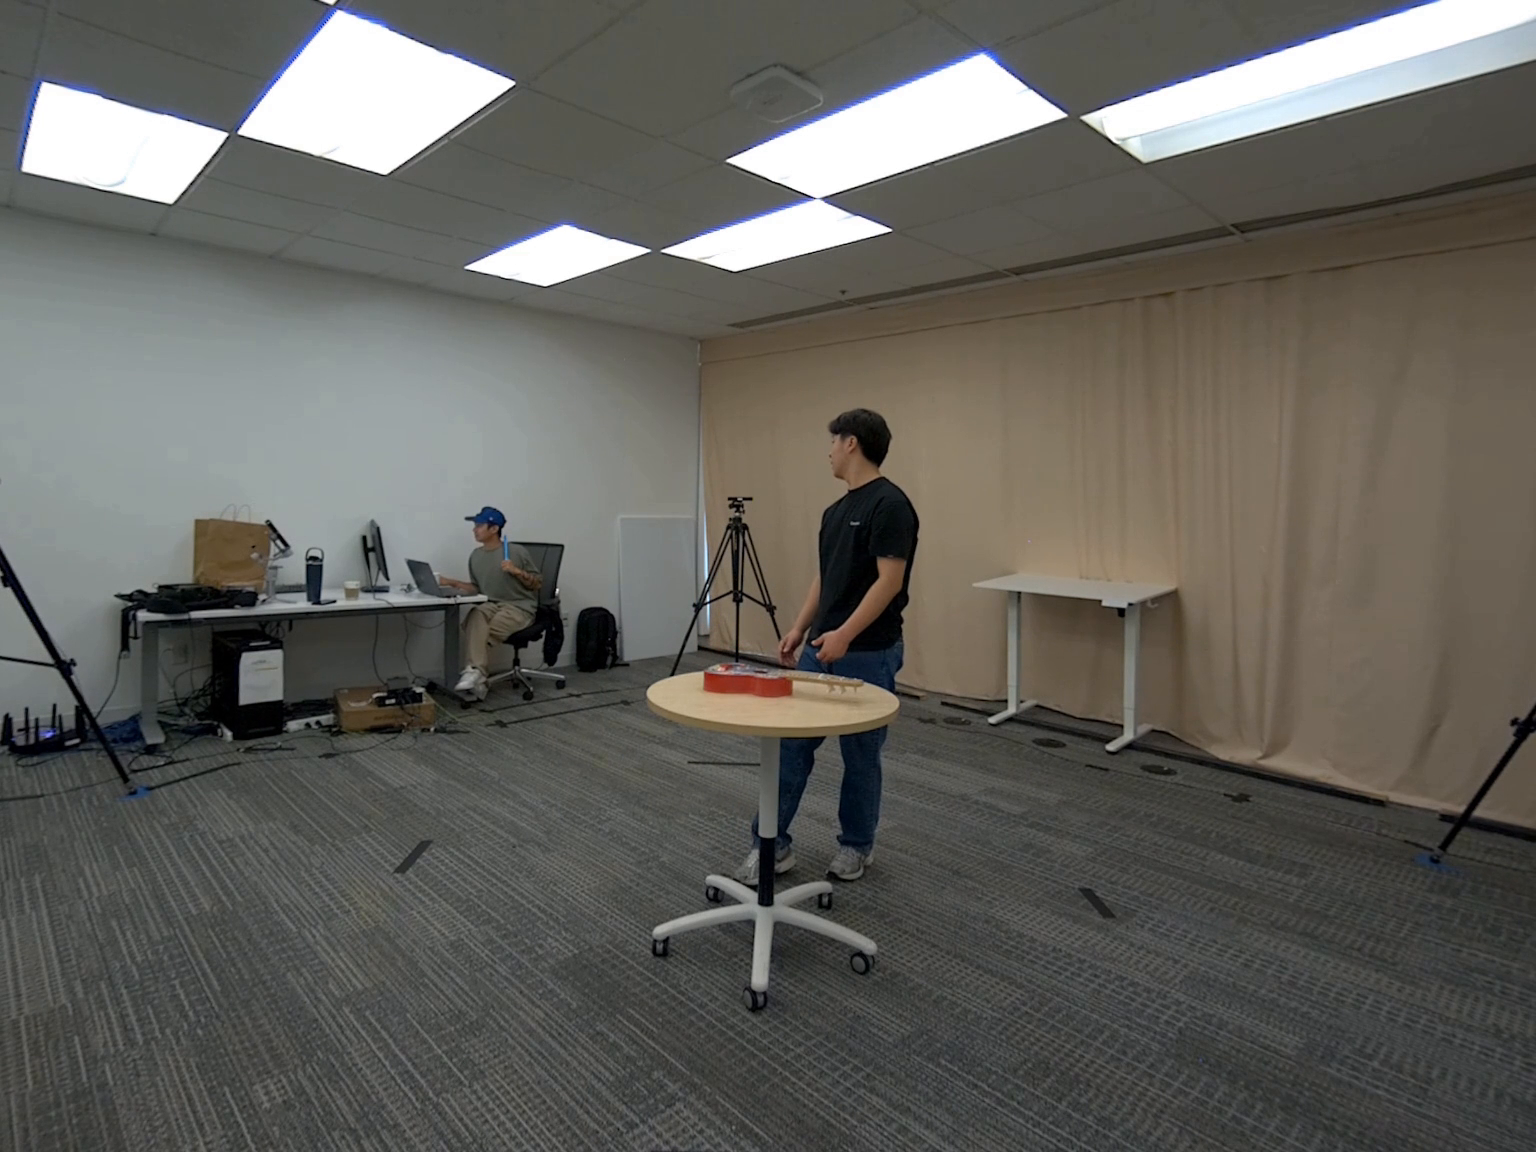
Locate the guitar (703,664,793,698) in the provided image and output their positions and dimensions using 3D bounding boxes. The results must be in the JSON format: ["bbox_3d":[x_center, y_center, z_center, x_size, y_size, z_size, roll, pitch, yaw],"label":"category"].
[{"bbox_3d":[0.023,0.334,2.557,0.509,0.070,0.189,4,5,30],"label":"guitar"}]
